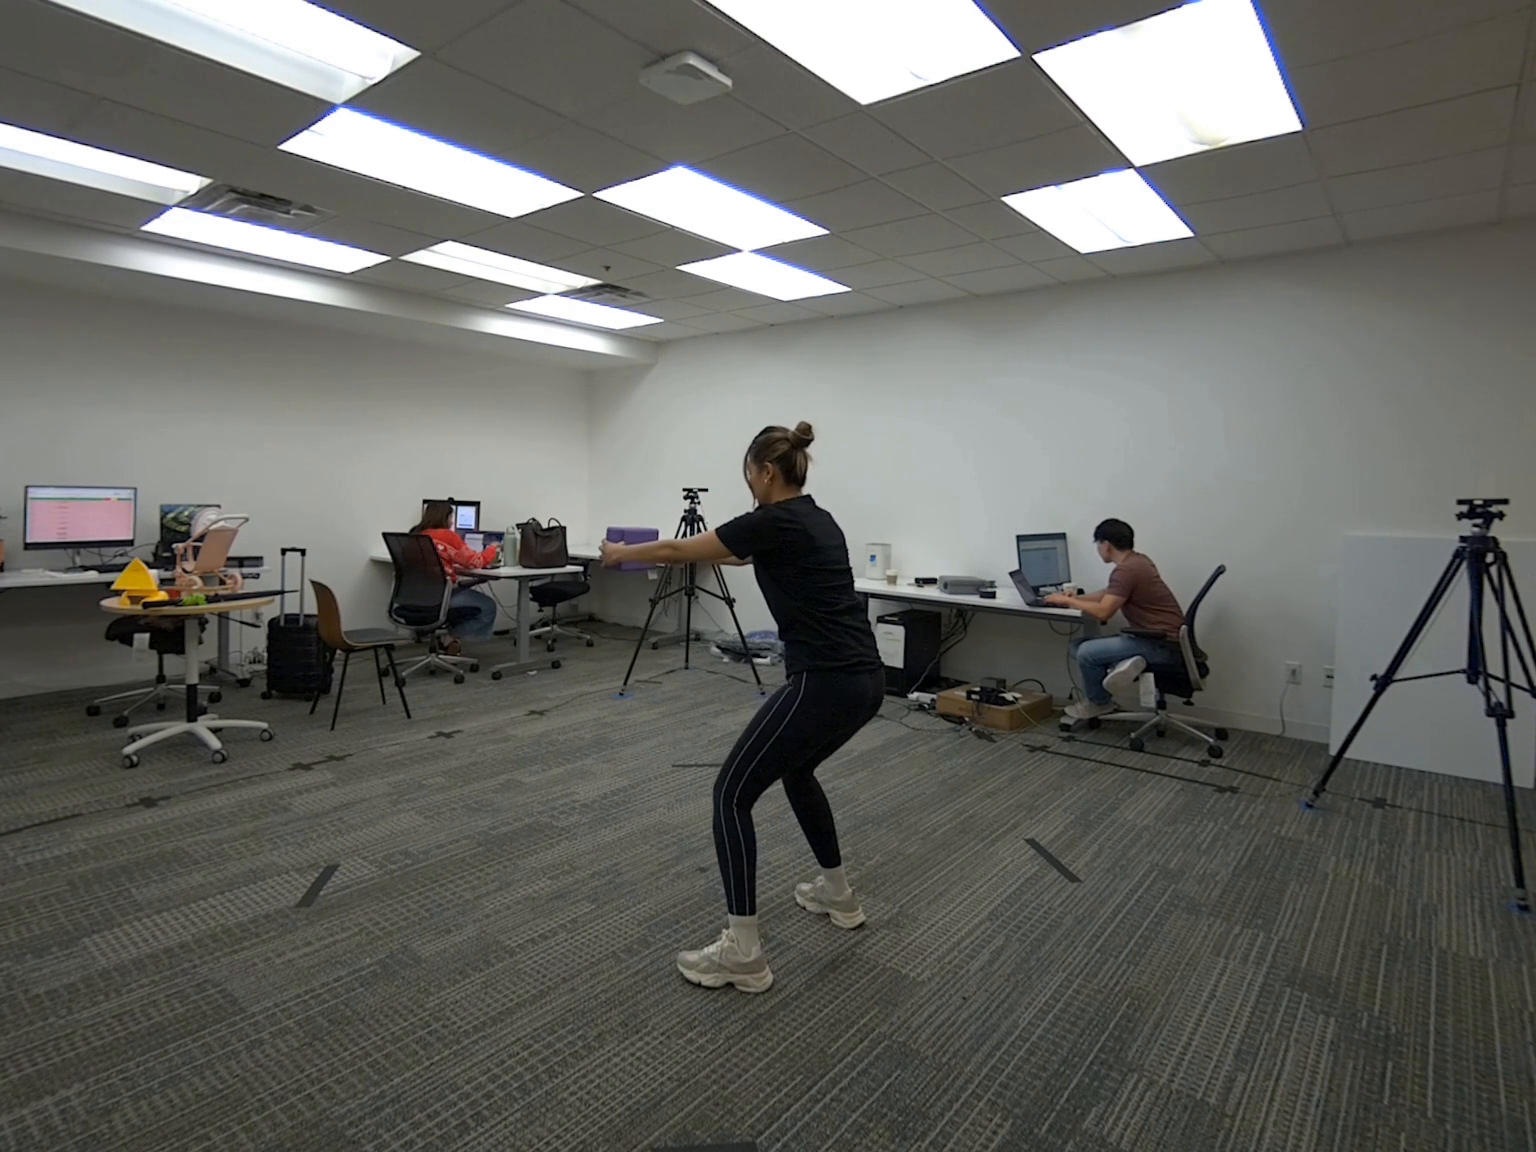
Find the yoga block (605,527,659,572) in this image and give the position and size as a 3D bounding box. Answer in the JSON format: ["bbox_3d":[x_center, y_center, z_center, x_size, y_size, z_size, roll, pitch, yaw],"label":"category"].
[{"bbox_3d":[-0.491,-0.090,2.963,0.078,0.148,0.224,7,4,23],"label":"yoga block"}]
